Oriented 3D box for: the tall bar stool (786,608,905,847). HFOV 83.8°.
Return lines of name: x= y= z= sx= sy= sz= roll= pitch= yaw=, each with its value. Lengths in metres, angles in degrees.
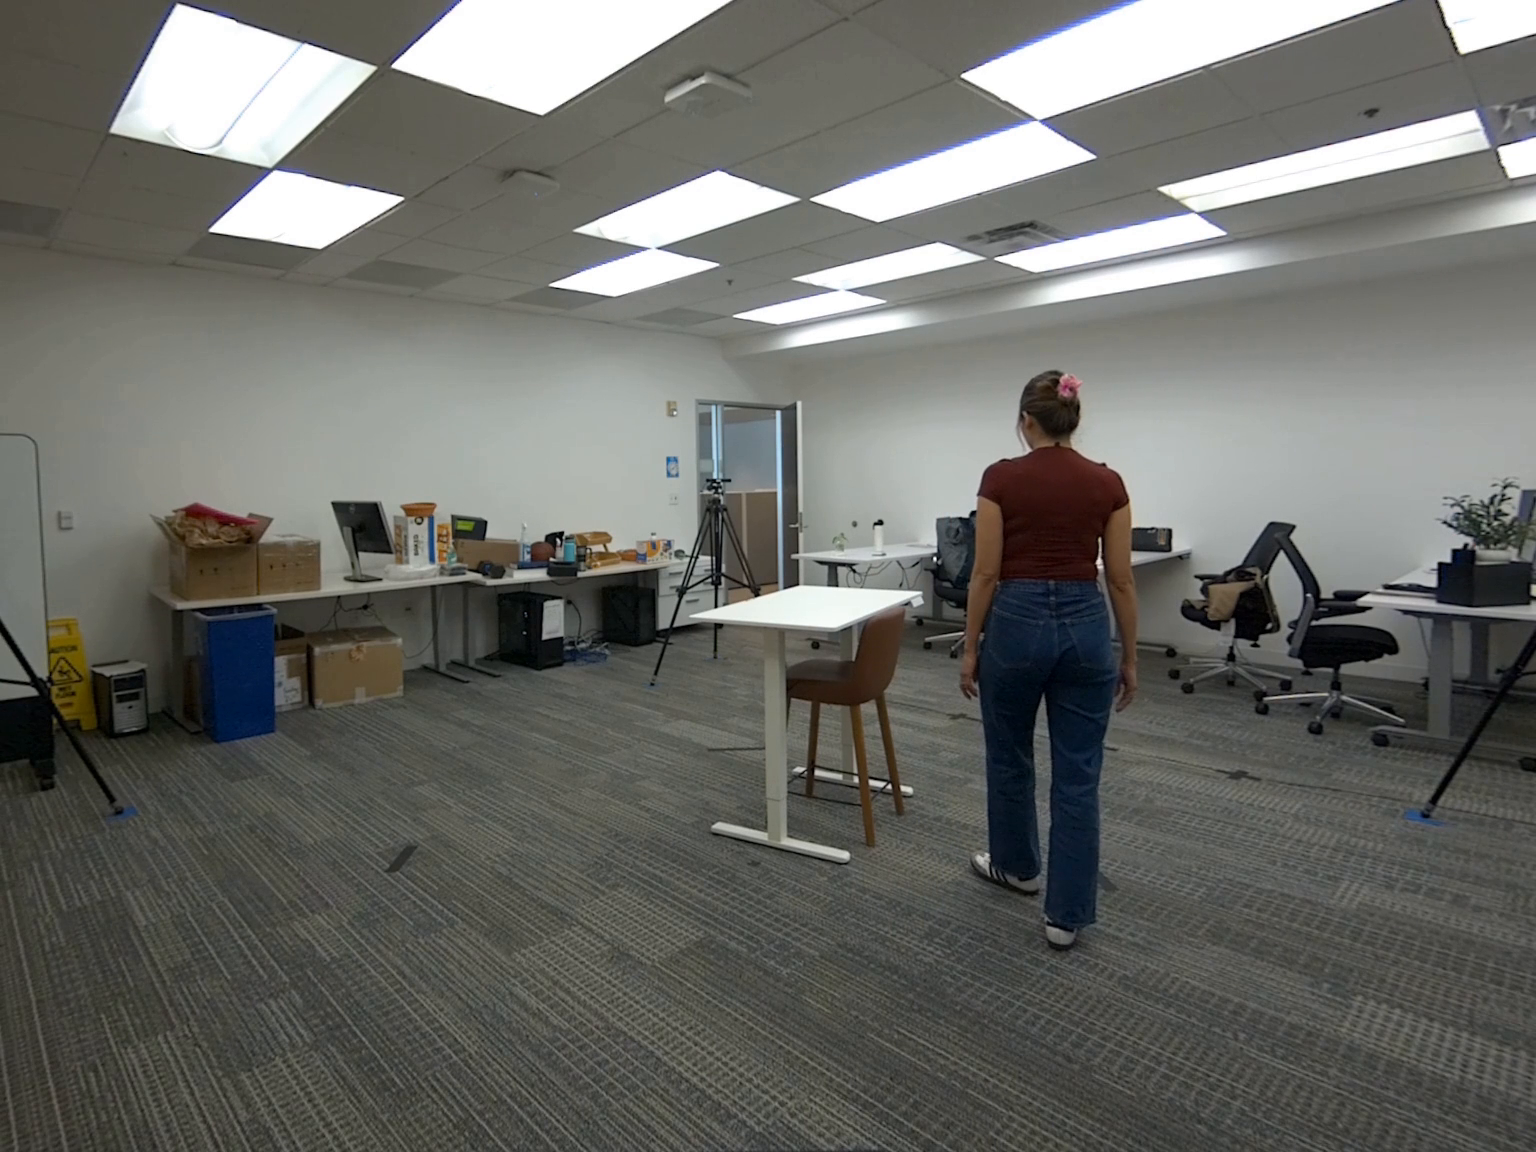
tall bar stool: x=0.280 y=0.567 z=3.474 sx=0.480 sy=0.886 sz=0.447 roll=3 pitch=5 yaw=29
